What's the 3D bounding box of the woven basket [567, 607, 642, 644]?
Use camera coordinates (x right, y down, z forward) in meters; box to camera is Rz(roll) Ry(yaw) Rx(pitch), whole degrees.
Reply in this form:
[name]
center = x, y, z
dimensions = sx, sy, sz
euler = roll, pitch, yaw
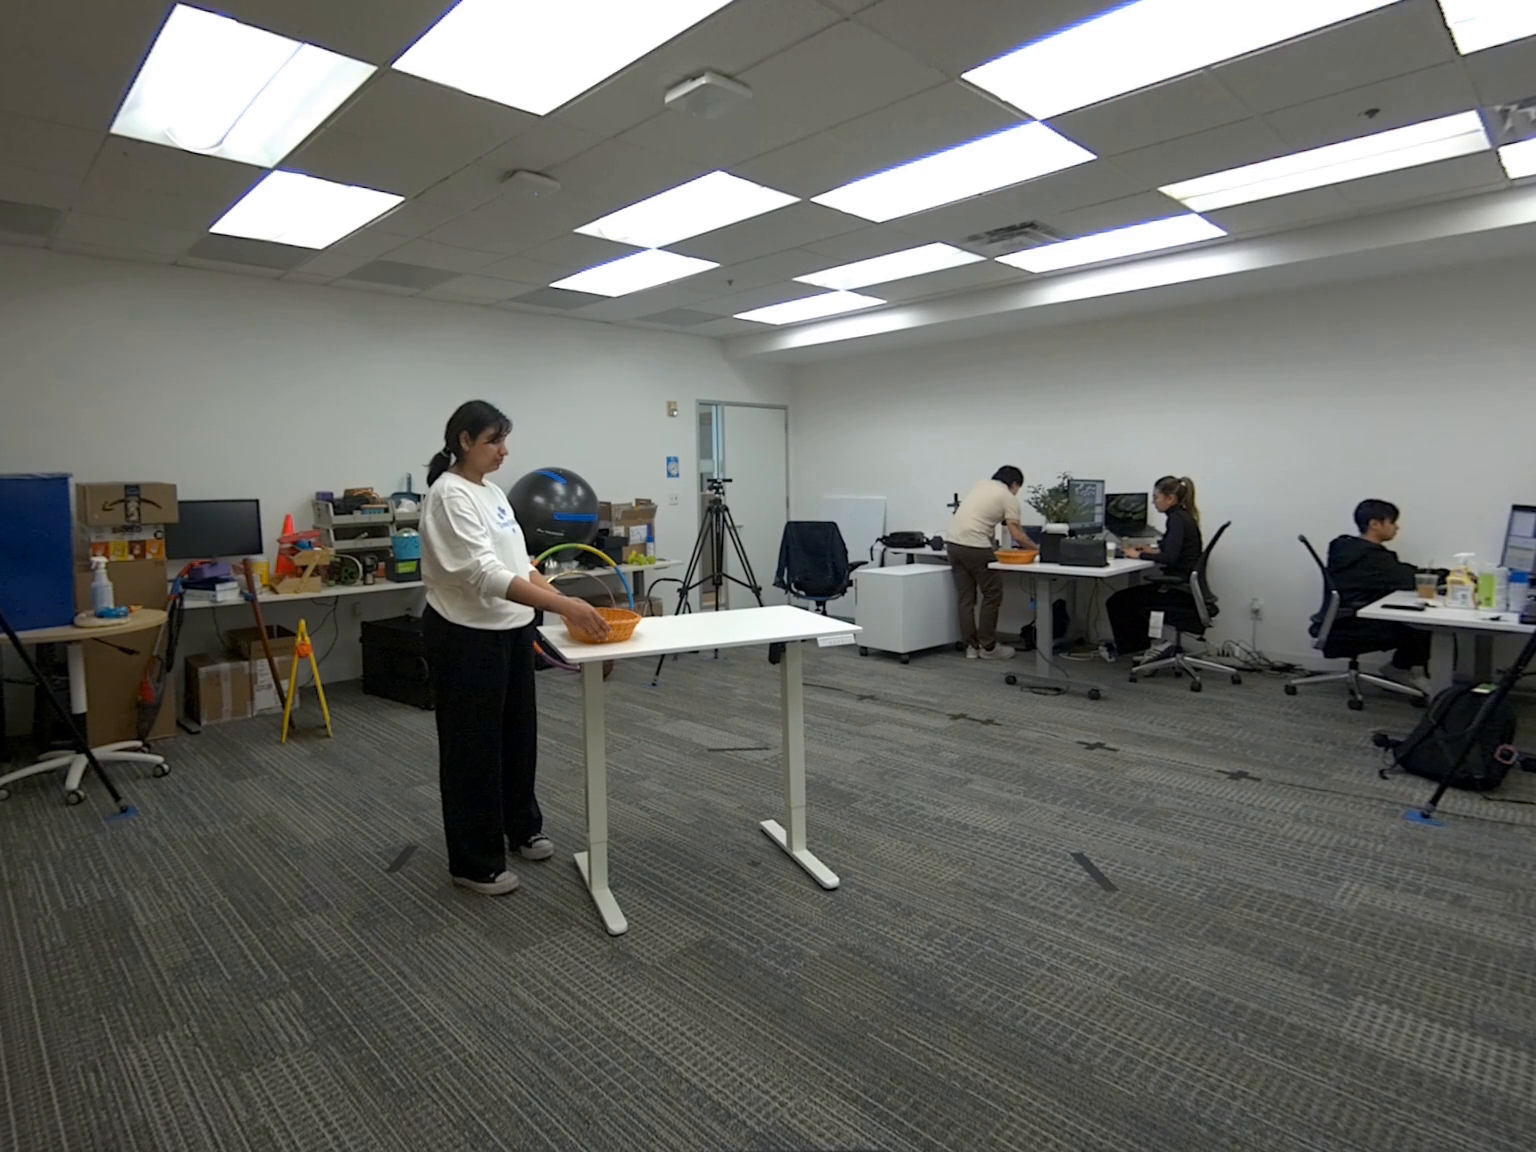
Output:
[woven basket]
center = -0.581, 0.170, 2.844
dimensions = 0.247, 0.073, 0.358
euler = 0, 5, -23
